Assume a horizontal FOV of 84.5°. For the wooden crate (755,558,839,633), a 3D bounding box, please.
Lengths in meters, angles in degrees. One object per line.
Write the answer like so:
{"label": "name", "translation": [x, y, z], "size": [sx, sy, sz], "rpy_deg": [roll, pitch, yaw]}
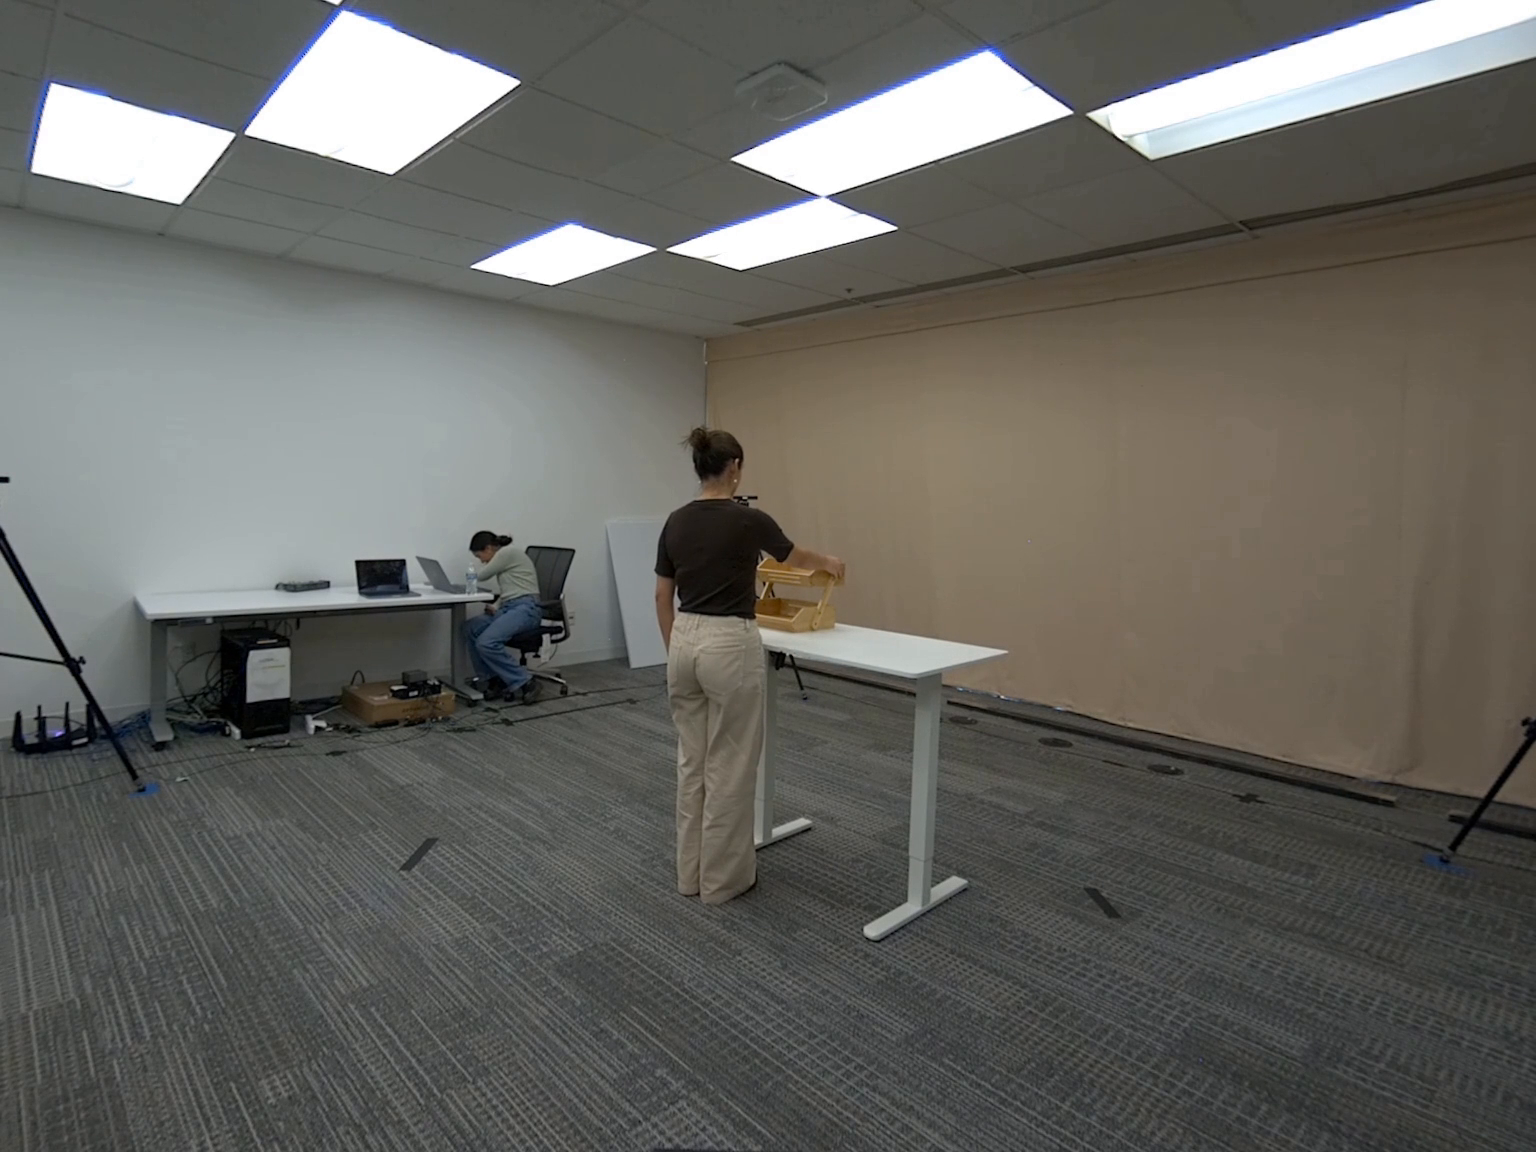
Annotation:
{"label": "wooden crate", "translation": [0.087, 0.068, 3.380], "size": [0.333, 0.273, 0.295], "rpy_deg": [7, 5, 44]}
